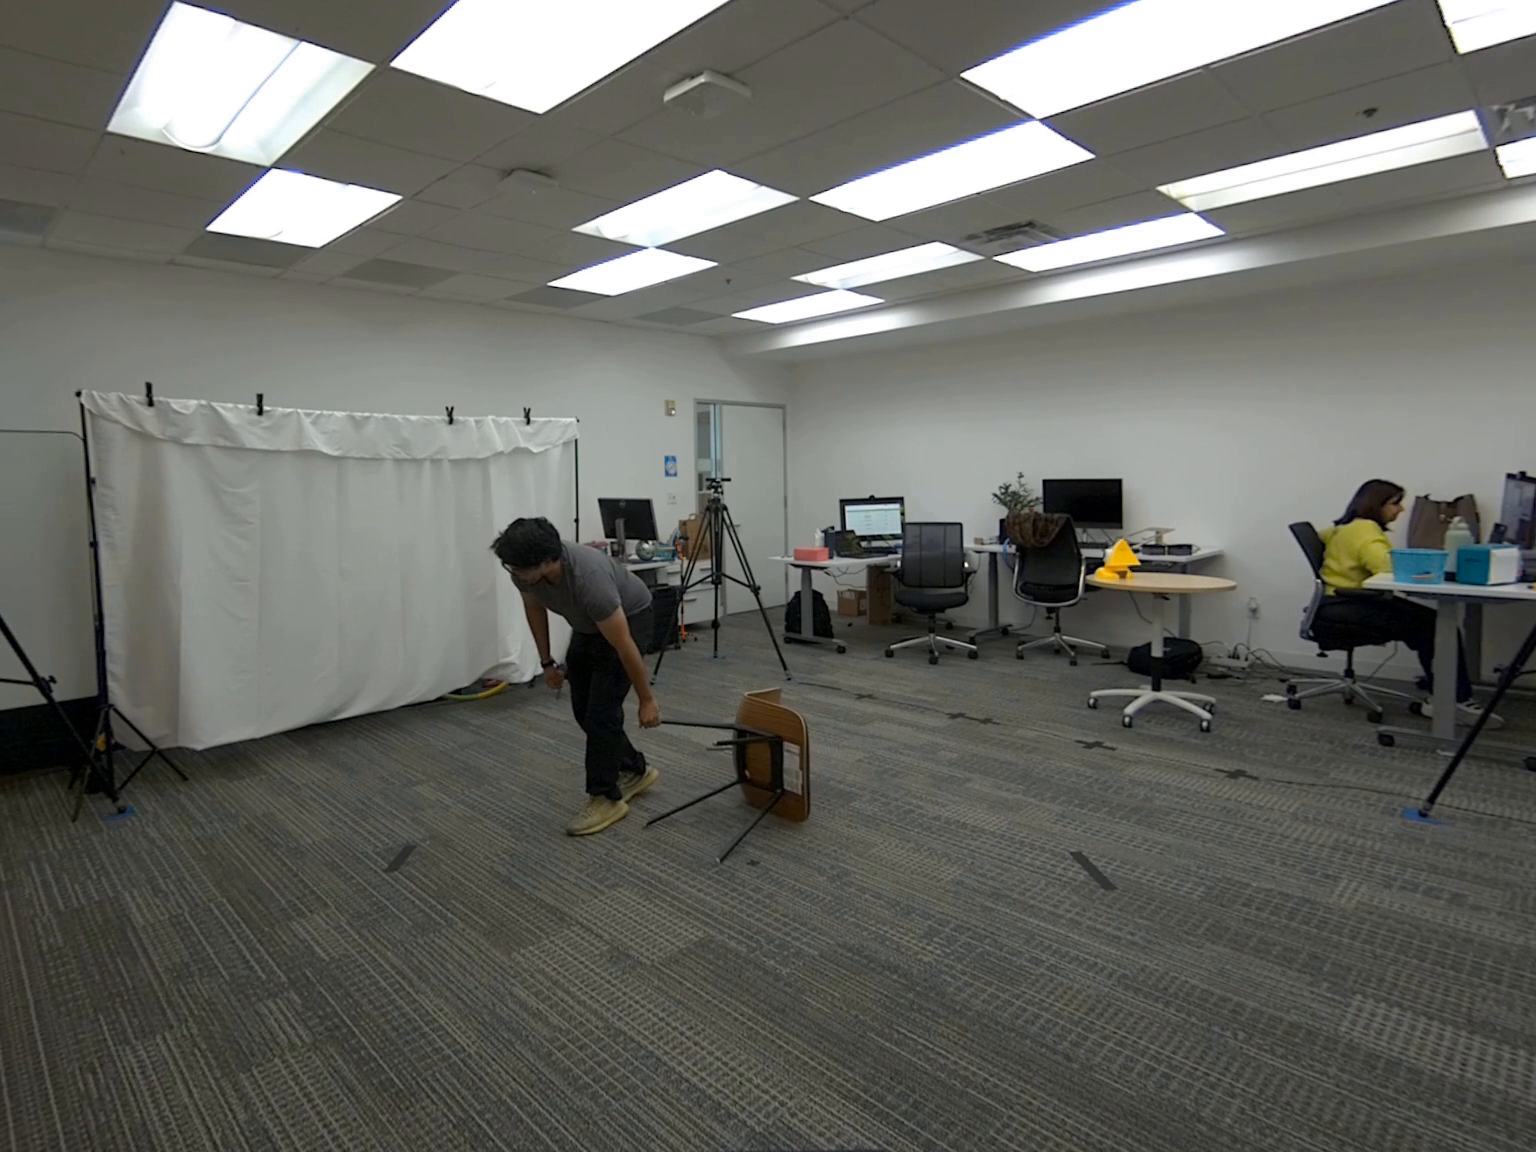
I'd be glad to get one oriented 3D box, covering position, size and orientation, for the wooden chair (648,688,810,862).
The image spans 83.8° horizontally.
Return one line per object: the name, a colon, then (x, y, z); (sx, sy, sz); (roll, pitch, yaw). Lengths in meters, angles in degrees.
wooden chair: (-0.039, 0.758, 3.527); (0.539, 0.476, 0.855); (4, 8, 42)
